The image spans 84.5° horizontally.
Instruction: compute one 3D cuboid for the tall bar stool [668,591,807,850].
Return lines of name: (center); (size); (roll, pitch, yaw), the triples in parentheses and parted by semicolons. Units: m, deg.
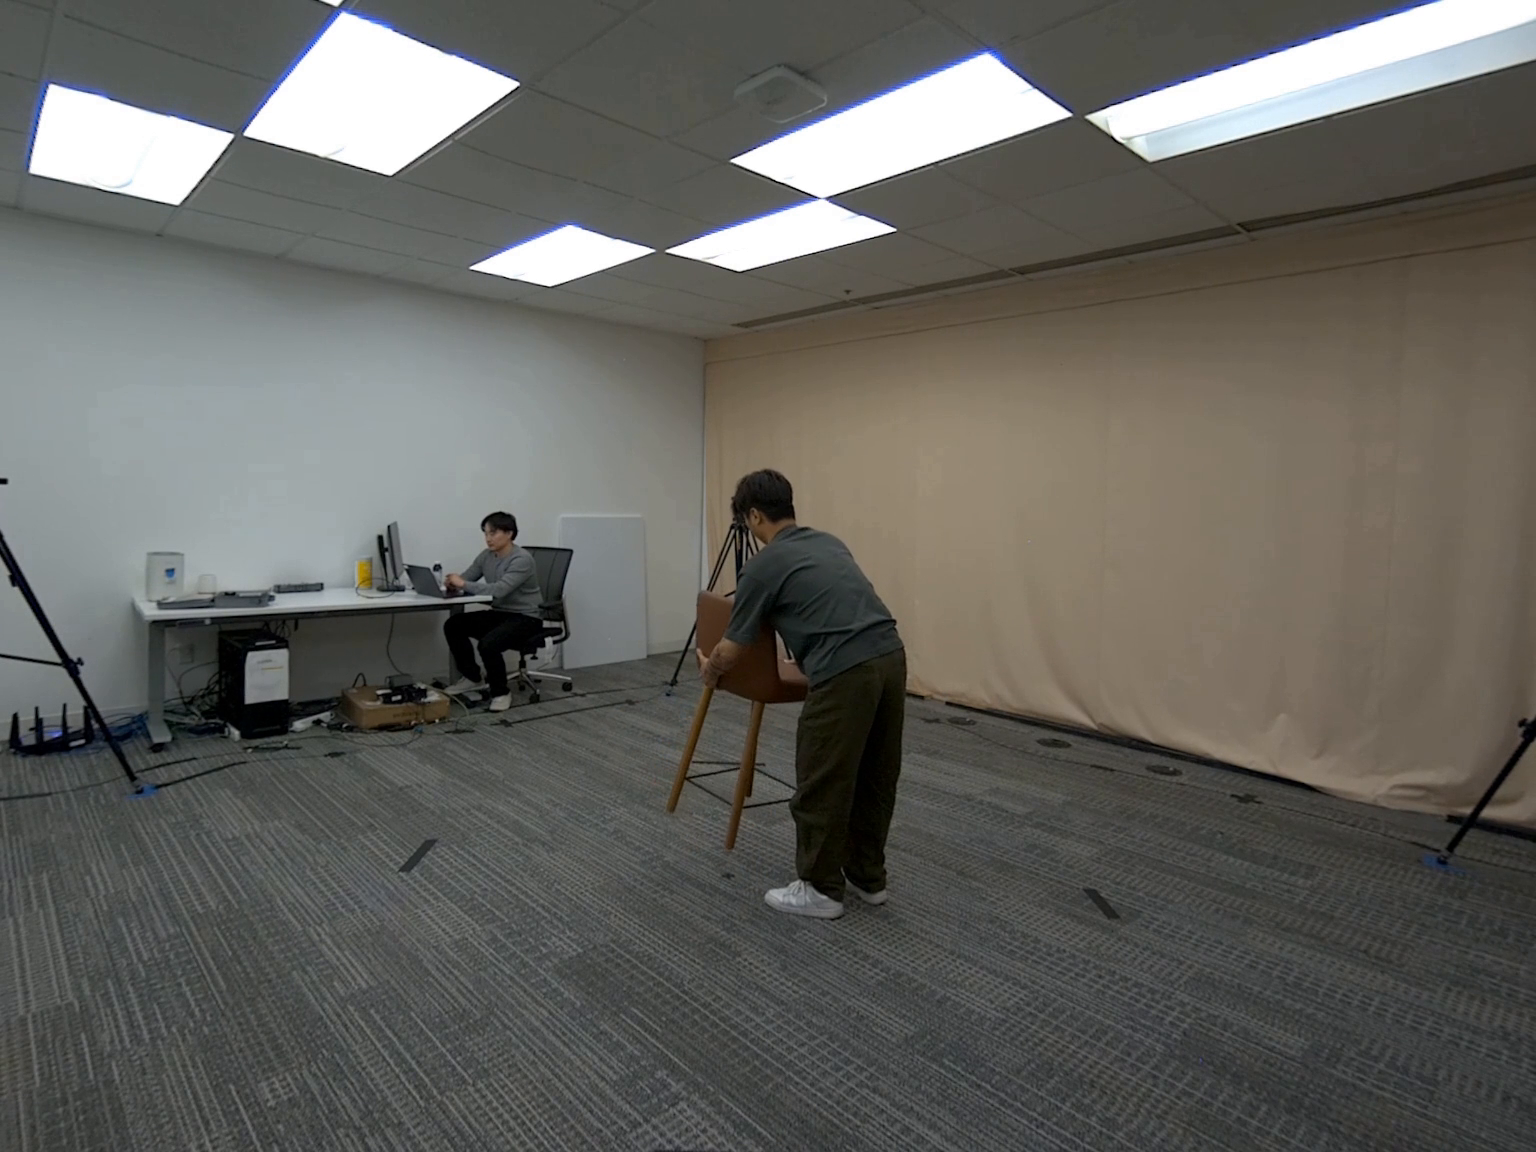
tall bar stool: (-0.060, 0.526, 3.227); (0.456, 0.887, 0.469); (4, 5, -43)
